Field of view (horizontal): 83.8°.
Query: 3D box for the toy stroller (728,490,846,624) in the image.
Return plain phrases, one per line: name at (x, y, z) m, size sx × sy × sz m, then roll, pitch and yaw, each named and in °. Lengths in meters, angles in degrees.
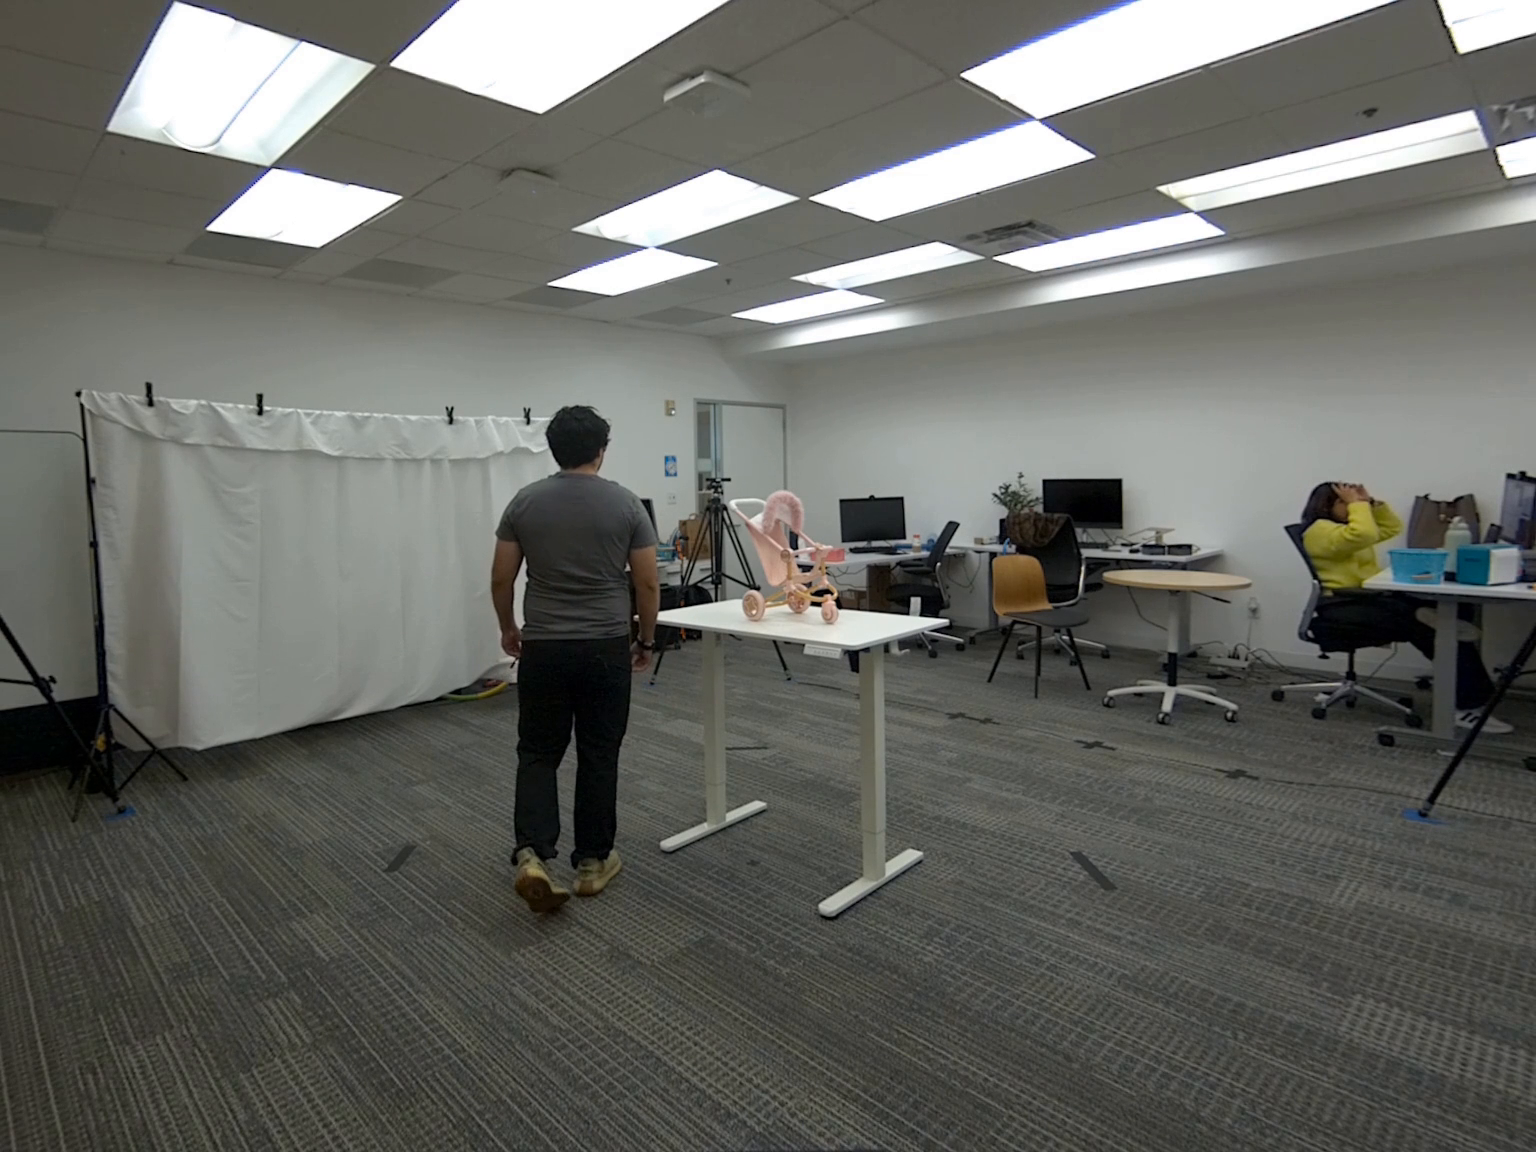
toy stroller at (0.077, -0.068, 3.102) m, size 0.274 × 0.540 × 0.347 m, roll -5°, pitch -10°, yaw -42°
